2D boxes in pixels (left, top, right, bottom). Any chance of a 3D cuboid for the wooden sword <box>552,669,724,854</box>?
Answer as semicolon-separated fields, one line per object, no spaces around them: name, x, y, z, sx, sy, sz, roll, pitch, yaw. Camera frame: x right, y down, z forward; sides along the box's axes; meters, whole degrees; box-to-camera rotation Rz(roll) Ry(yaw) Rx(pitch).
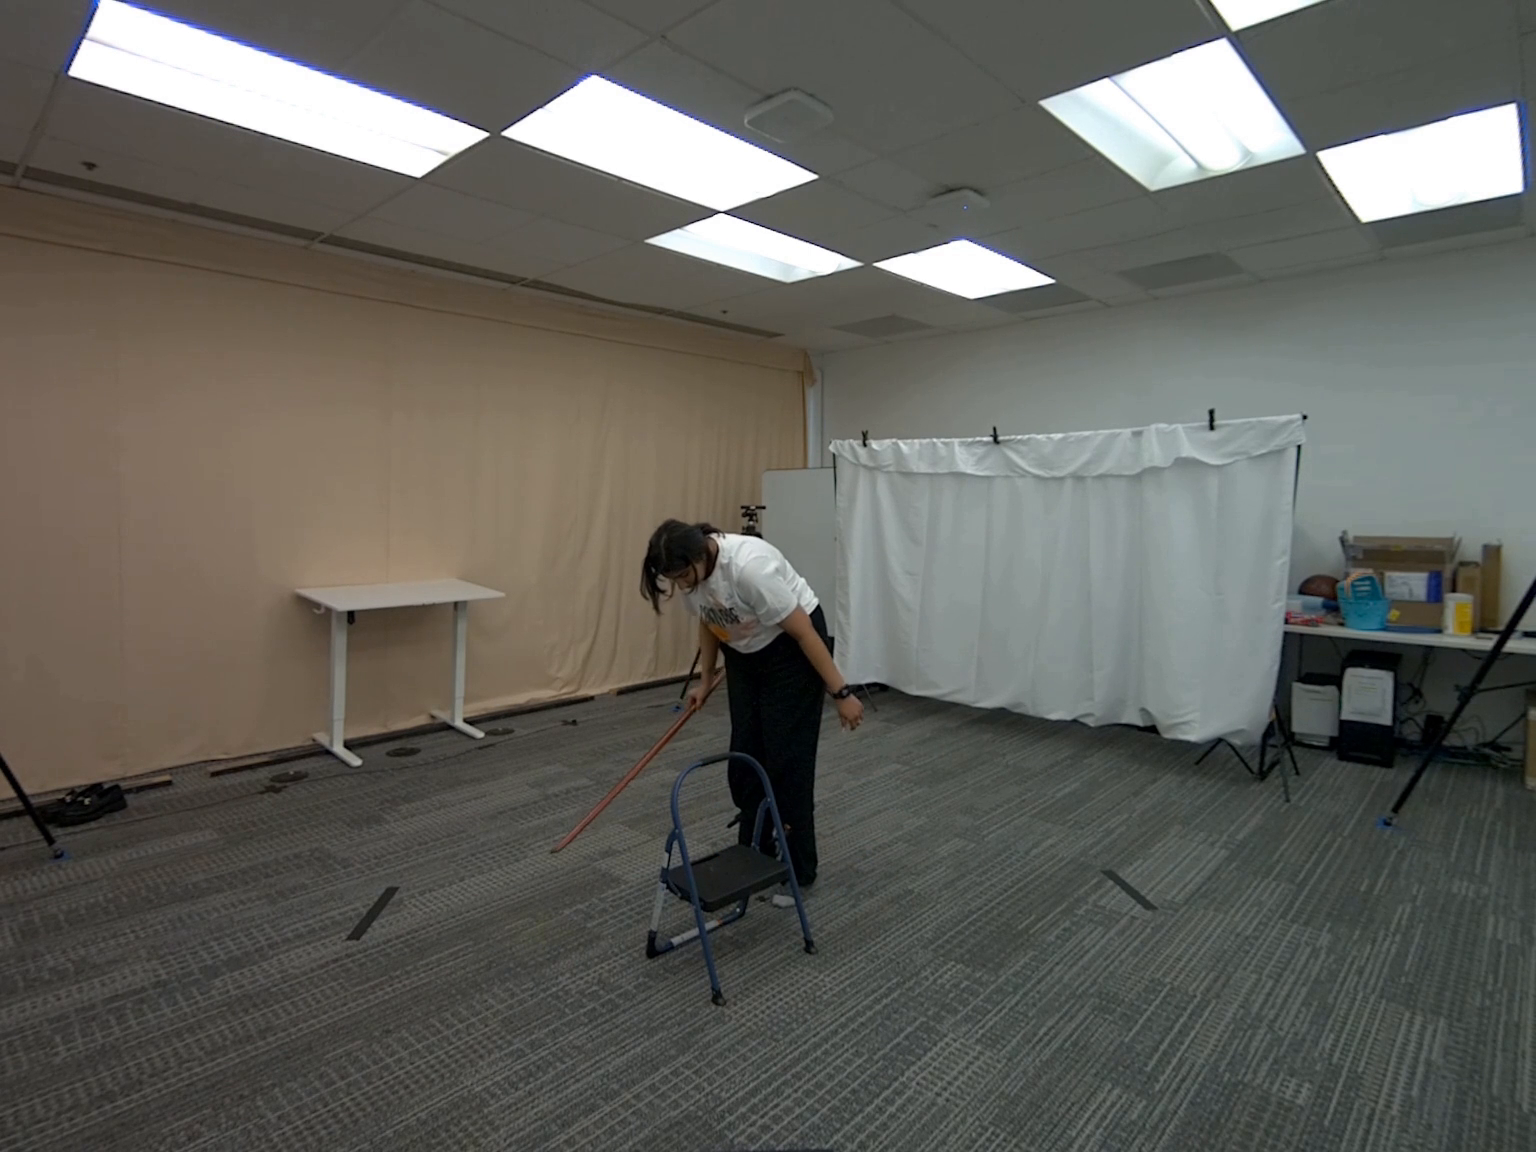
wooden sword;-0.450;0.670;3.073;0.053;0.024;1.015;22;43;22
